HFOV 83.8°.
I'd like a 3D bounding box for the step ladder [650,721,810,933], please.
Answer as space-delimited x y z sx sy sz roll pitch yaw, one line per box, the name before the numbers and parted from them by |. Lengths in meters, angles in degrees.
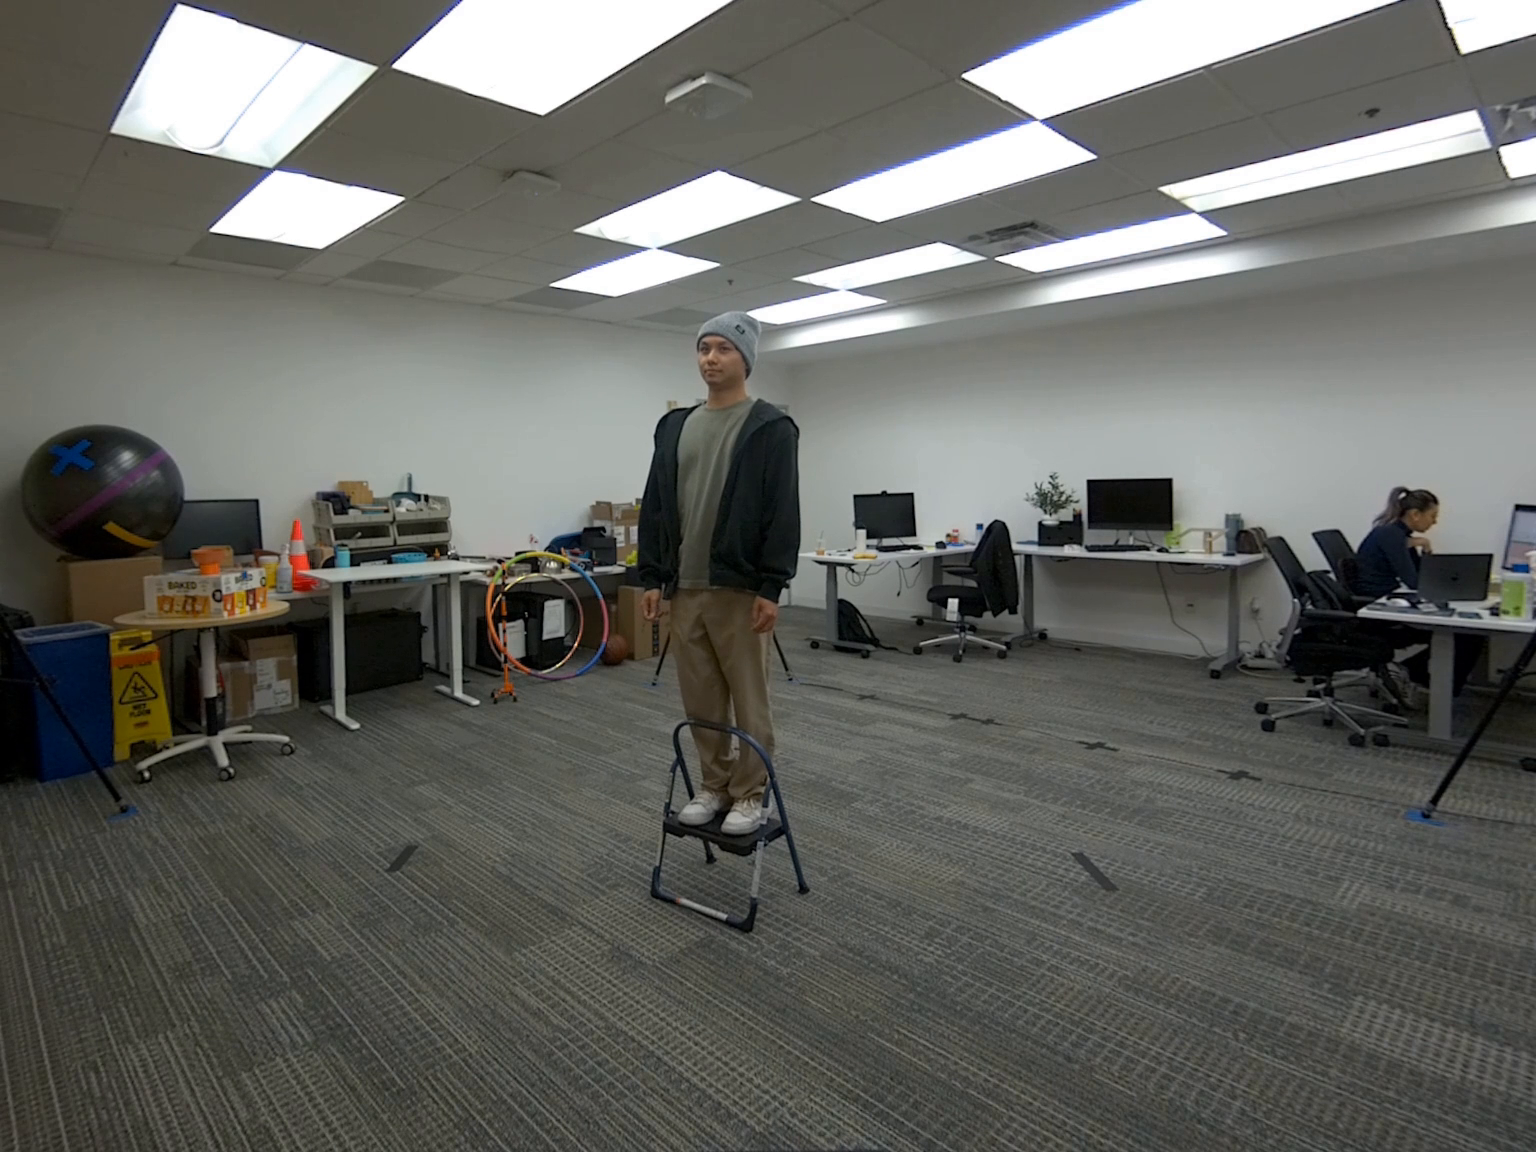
step ladder | -0.137 0.772 2.865 0.443 0.603 0.341 2 6 35
